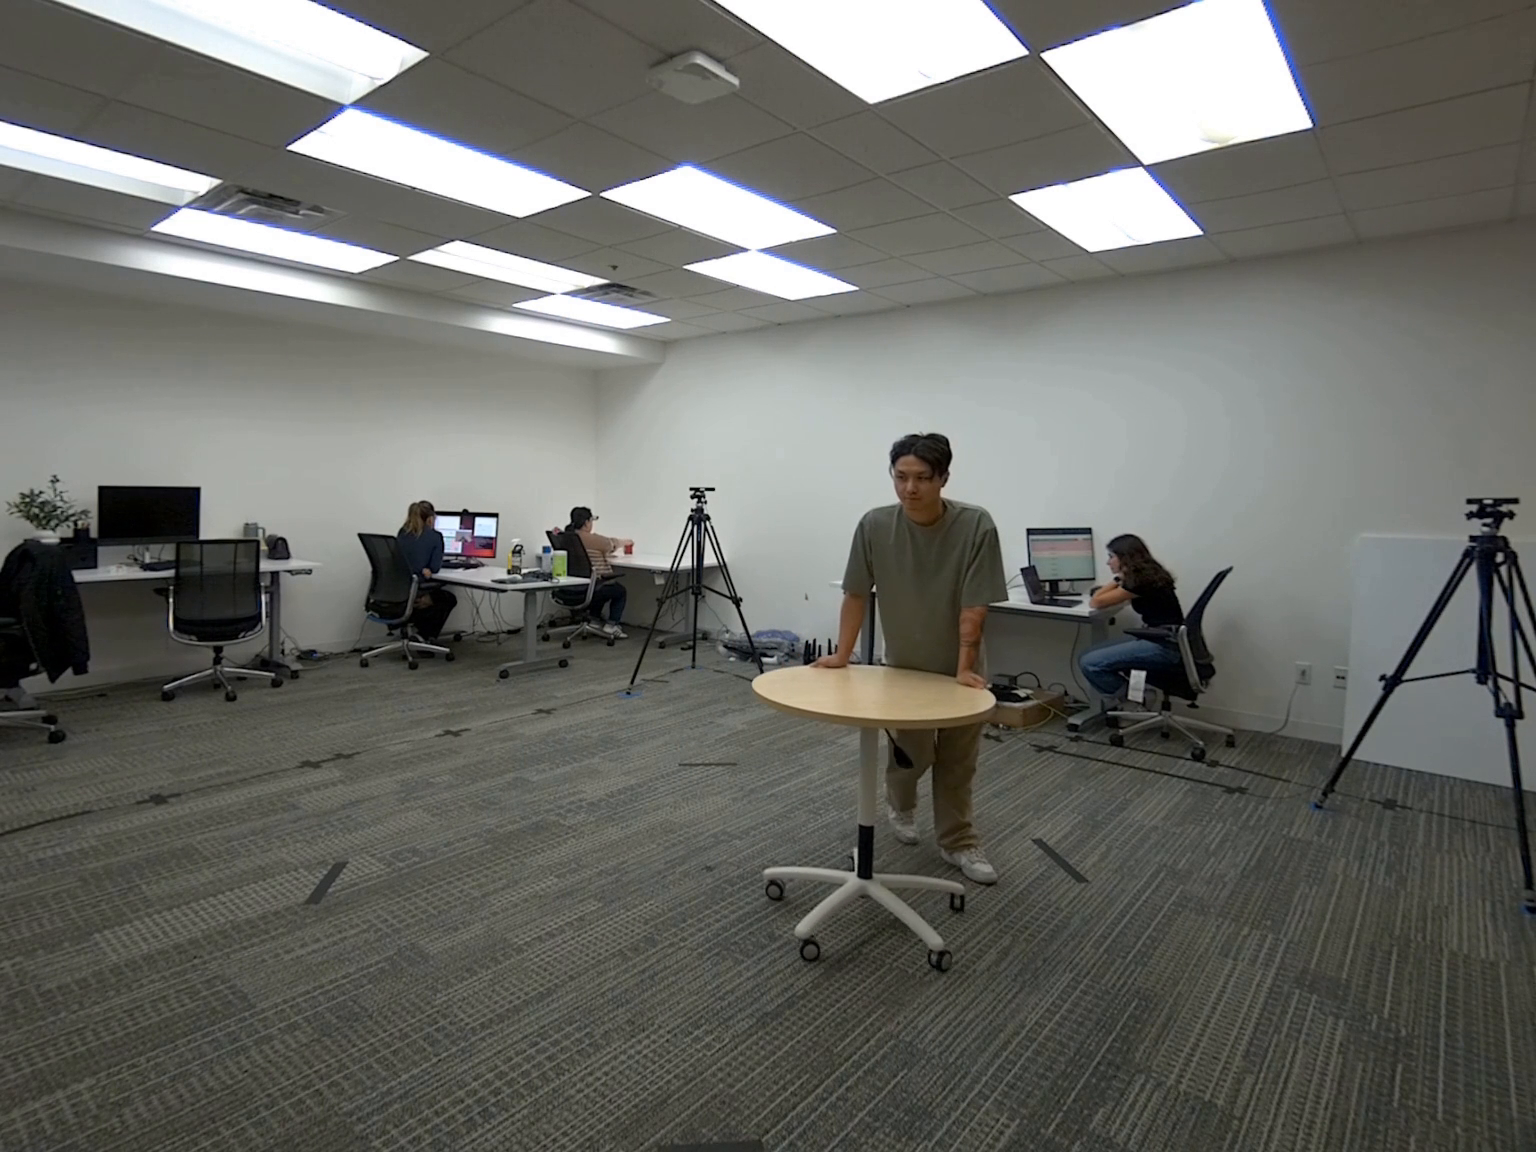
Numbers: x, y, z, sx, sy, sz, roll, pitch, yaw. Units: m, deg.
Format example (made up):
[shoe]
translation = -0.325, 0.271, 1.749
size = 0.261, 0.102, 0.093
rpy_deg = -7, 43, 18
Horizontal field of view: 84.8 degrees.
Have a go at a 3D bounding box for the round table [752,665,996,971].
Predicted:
[round table]
translation = 0.300, 0.732, 2.765
size = 0.784, 0.784, 0.789
rpy_deg = 2, 4, -2
